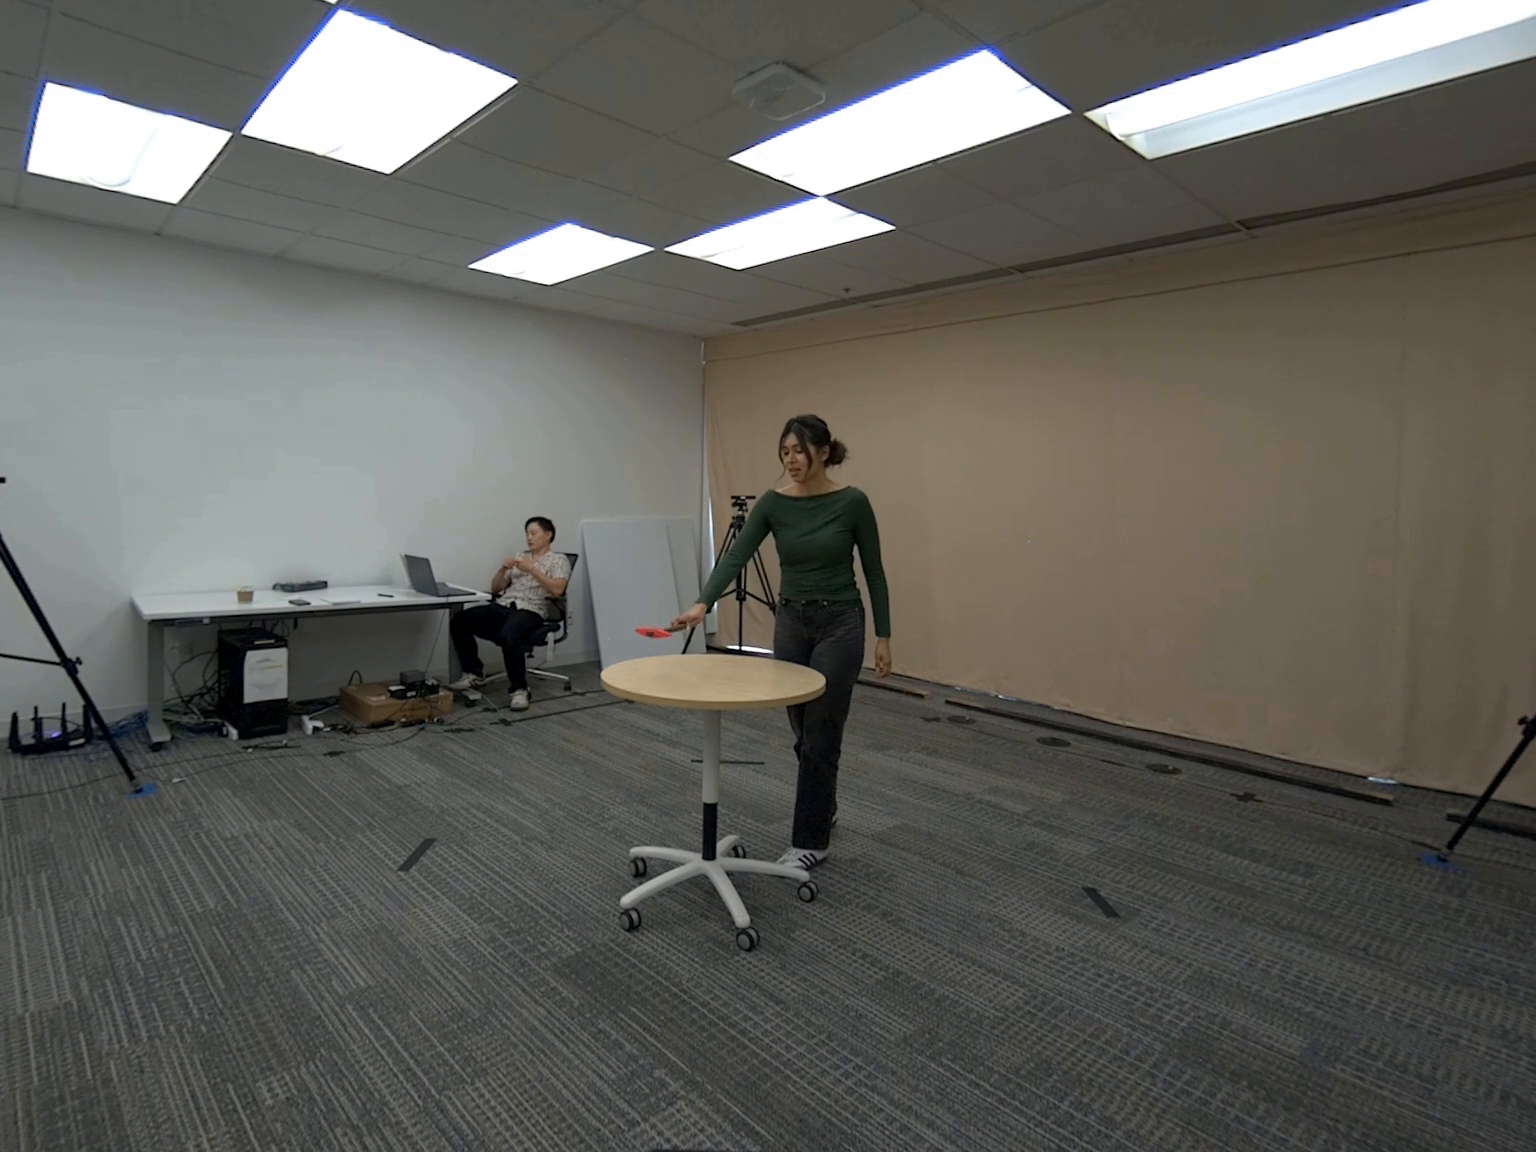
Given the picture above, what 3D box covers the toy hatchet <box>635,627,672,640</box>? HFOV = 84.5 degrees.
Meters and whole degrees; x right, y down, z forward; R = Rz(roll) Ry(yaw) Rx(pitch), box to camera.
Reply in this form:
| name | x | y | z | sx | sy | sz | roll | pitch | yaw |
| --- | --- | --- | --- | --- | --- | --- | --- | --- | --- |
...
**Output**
| name | x | y | z | sx | sy | sz | roll | pitch | yaw |
| --- | --- | --- | --- | --- | --- | --- | --- | --- | --- |
| toy hatchet | -0.344 | 0.166 | 2.731 | 0.132 | 0.029 | 0.269 | 2 | 4 | 6 |
